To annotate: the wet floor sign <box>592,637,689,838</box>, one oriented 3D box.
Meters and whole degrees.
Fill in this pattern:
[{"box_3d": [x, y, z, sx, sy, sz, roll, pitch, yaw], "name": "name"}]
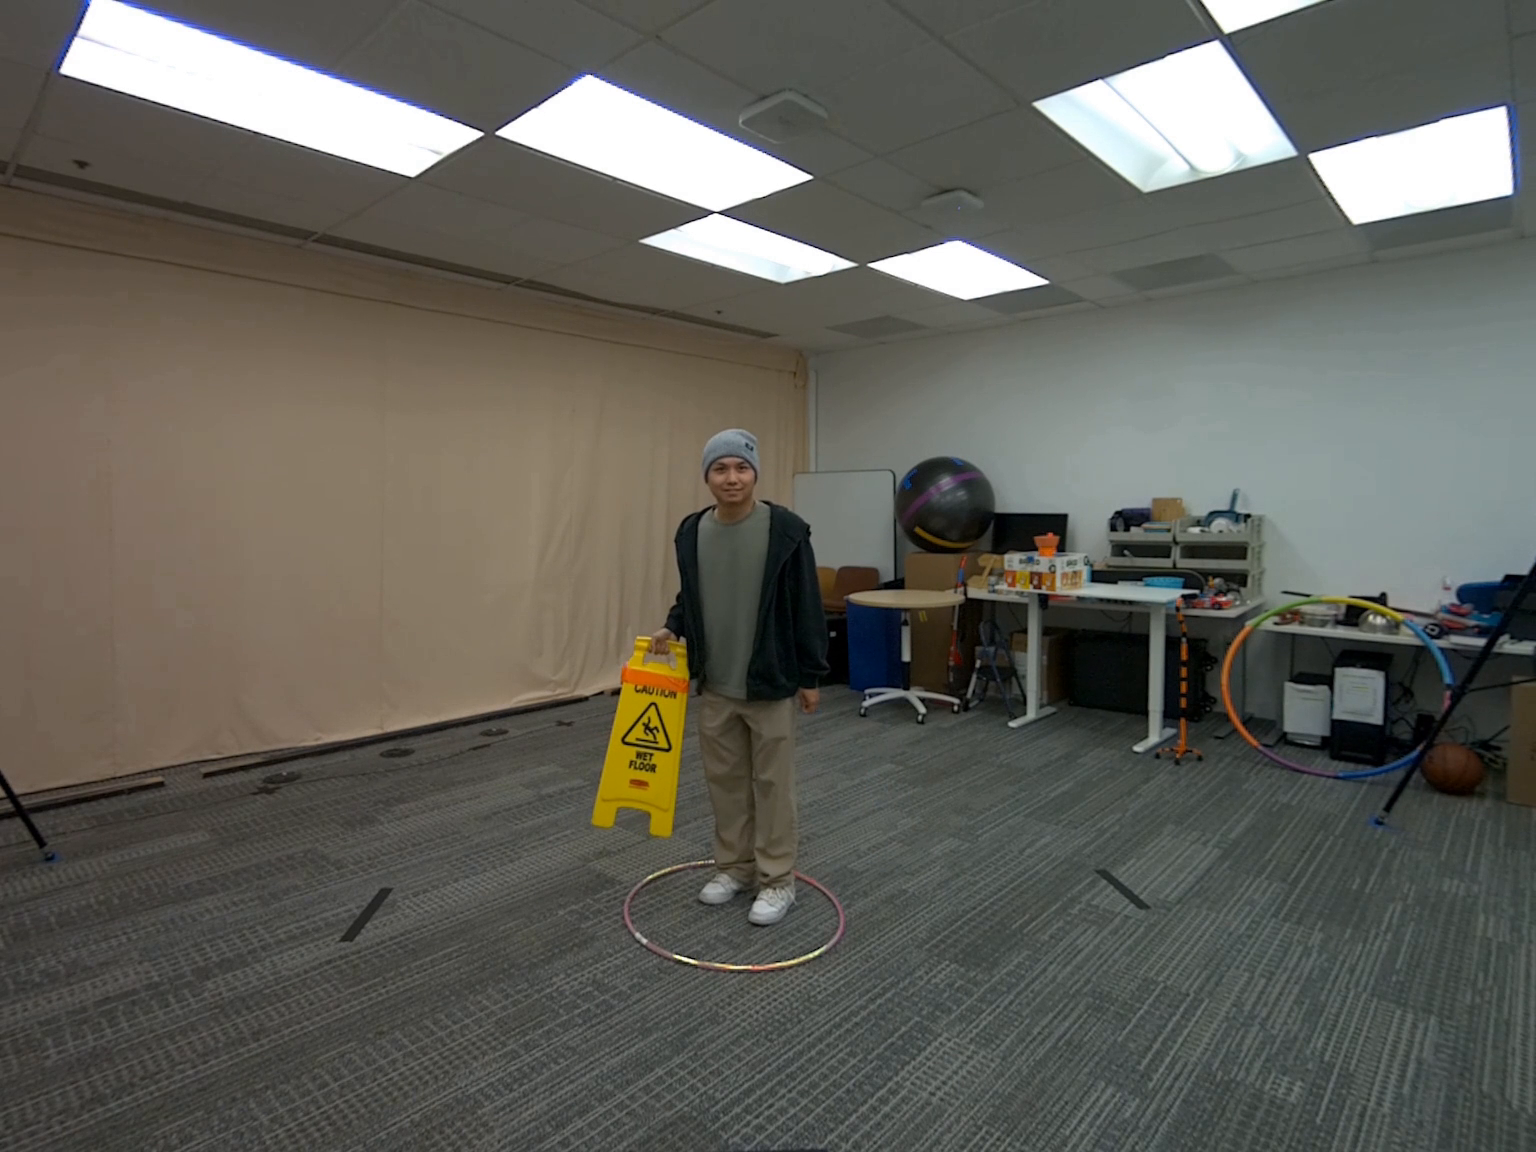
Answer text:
[{"box_3d": [-0.421, 0.547, 3.004, 0.281, 0.646, 0.291, 8, 1, -6], "name": "wet floor sign"}]
